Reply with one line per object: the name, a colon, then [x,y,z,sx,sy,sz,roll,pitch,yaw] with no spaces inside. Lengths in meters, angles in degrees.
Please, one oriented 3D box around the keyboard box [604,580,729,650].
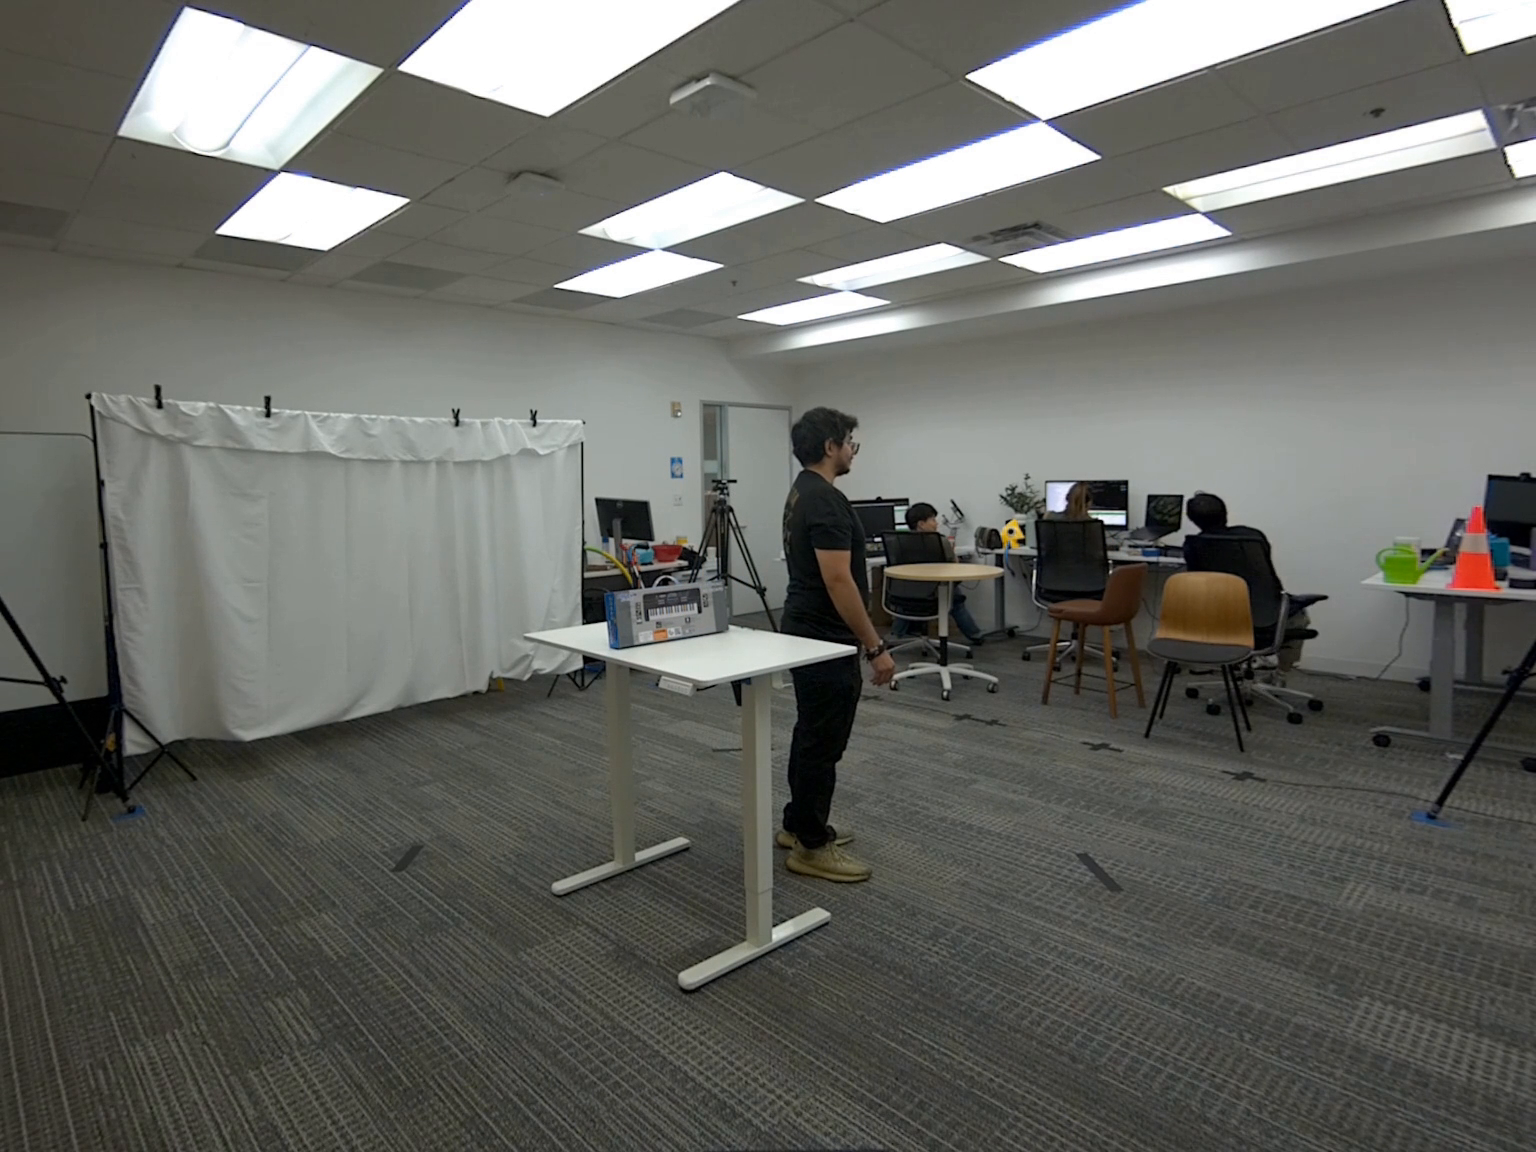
keyboard box: [-0.323,0.122,2.779,0.426,0.176,0.060,-7,-1,-40]
